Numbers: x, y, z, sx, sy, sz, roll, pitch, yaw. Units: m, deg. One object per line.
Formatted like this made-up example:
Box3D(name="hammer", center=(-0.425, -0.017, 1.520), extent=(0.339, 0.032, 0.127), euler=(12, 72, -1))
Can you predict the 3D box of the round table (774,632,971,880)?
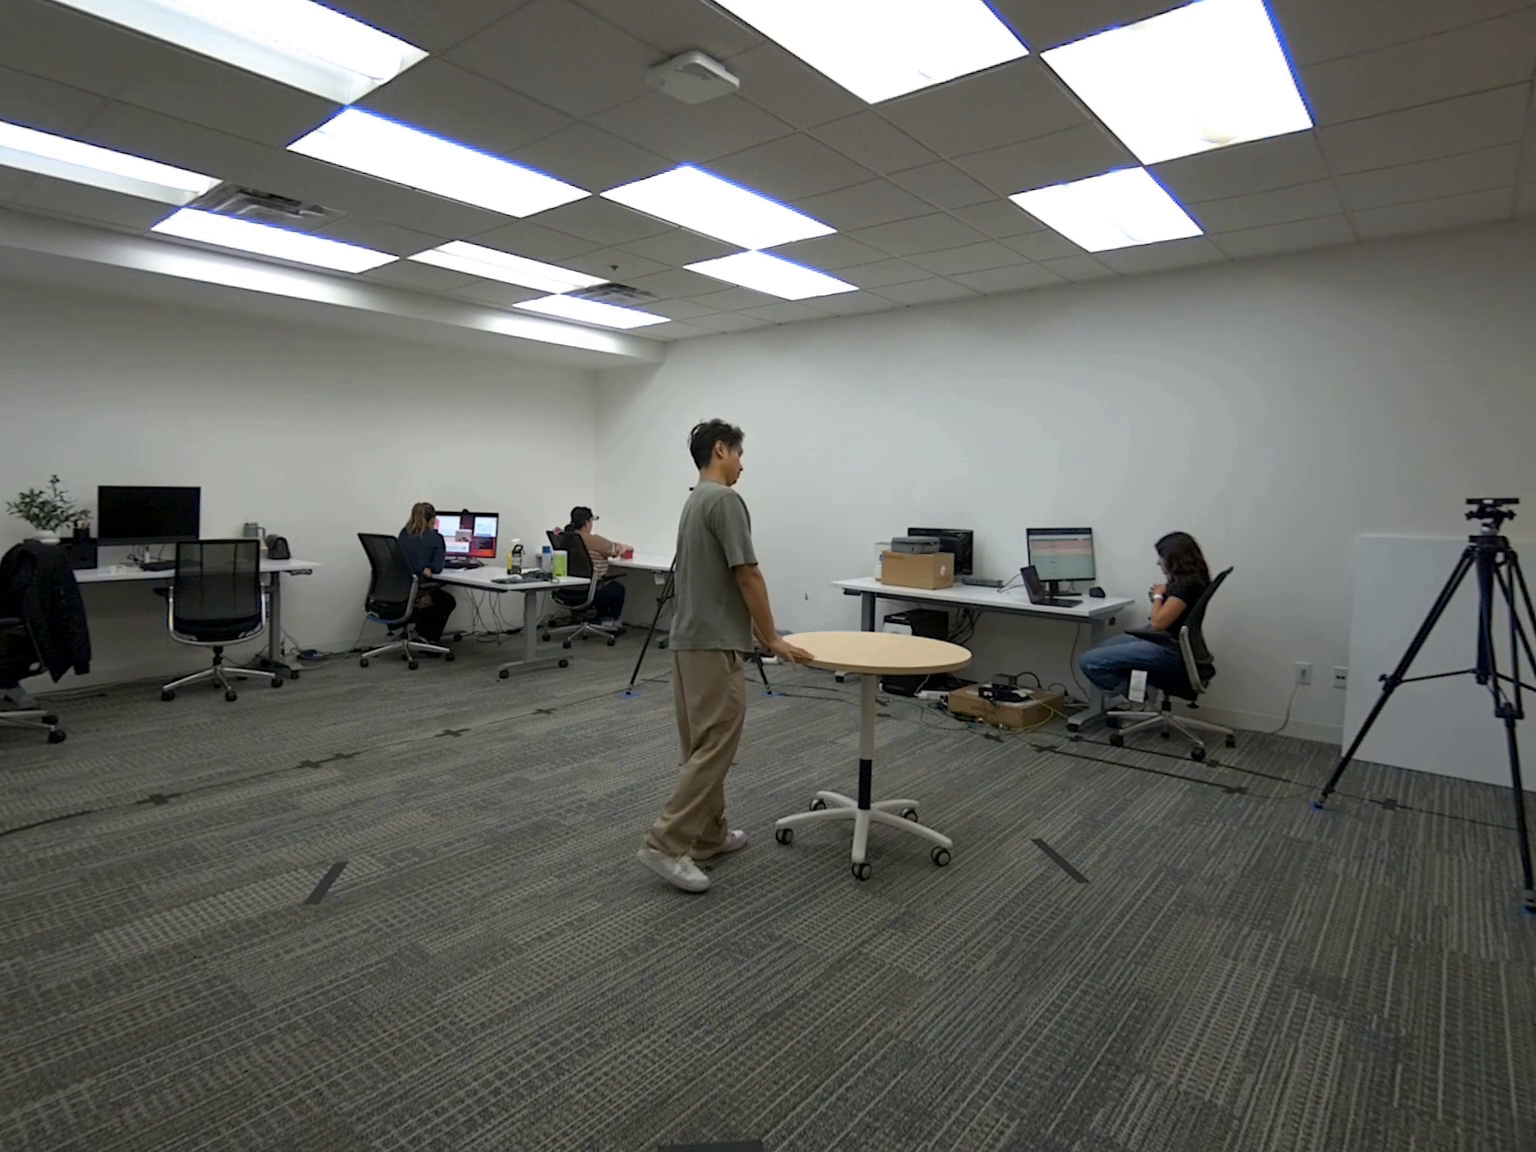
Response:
Box3D(name="round table", center=(0.390, 0.667, 3.343), extent=(0.784, 0.784, 0.789), euler=(1, 4, -2))
